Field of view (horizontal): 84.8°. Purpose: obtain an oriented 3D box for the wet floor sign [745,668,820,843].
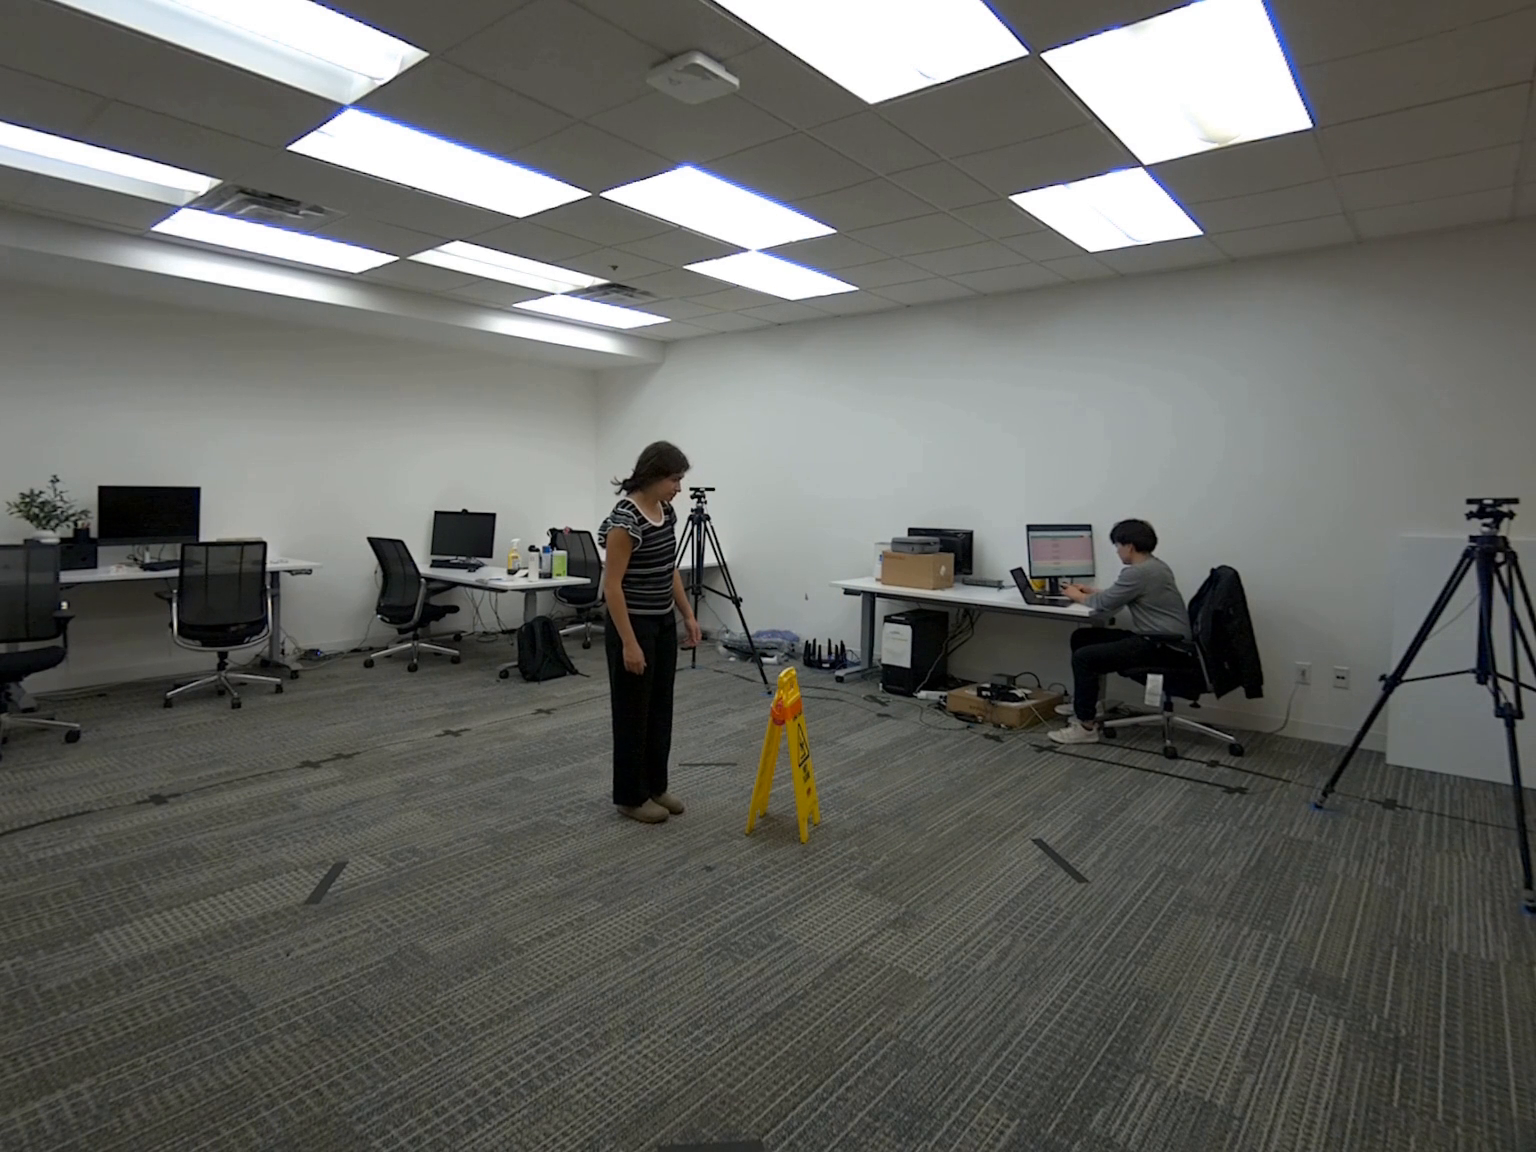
[{"bbox_3d":[0.066,0.711,3.498,0.295,0.643,0.278,3,4,17],"label":"wet floor sign"}]
